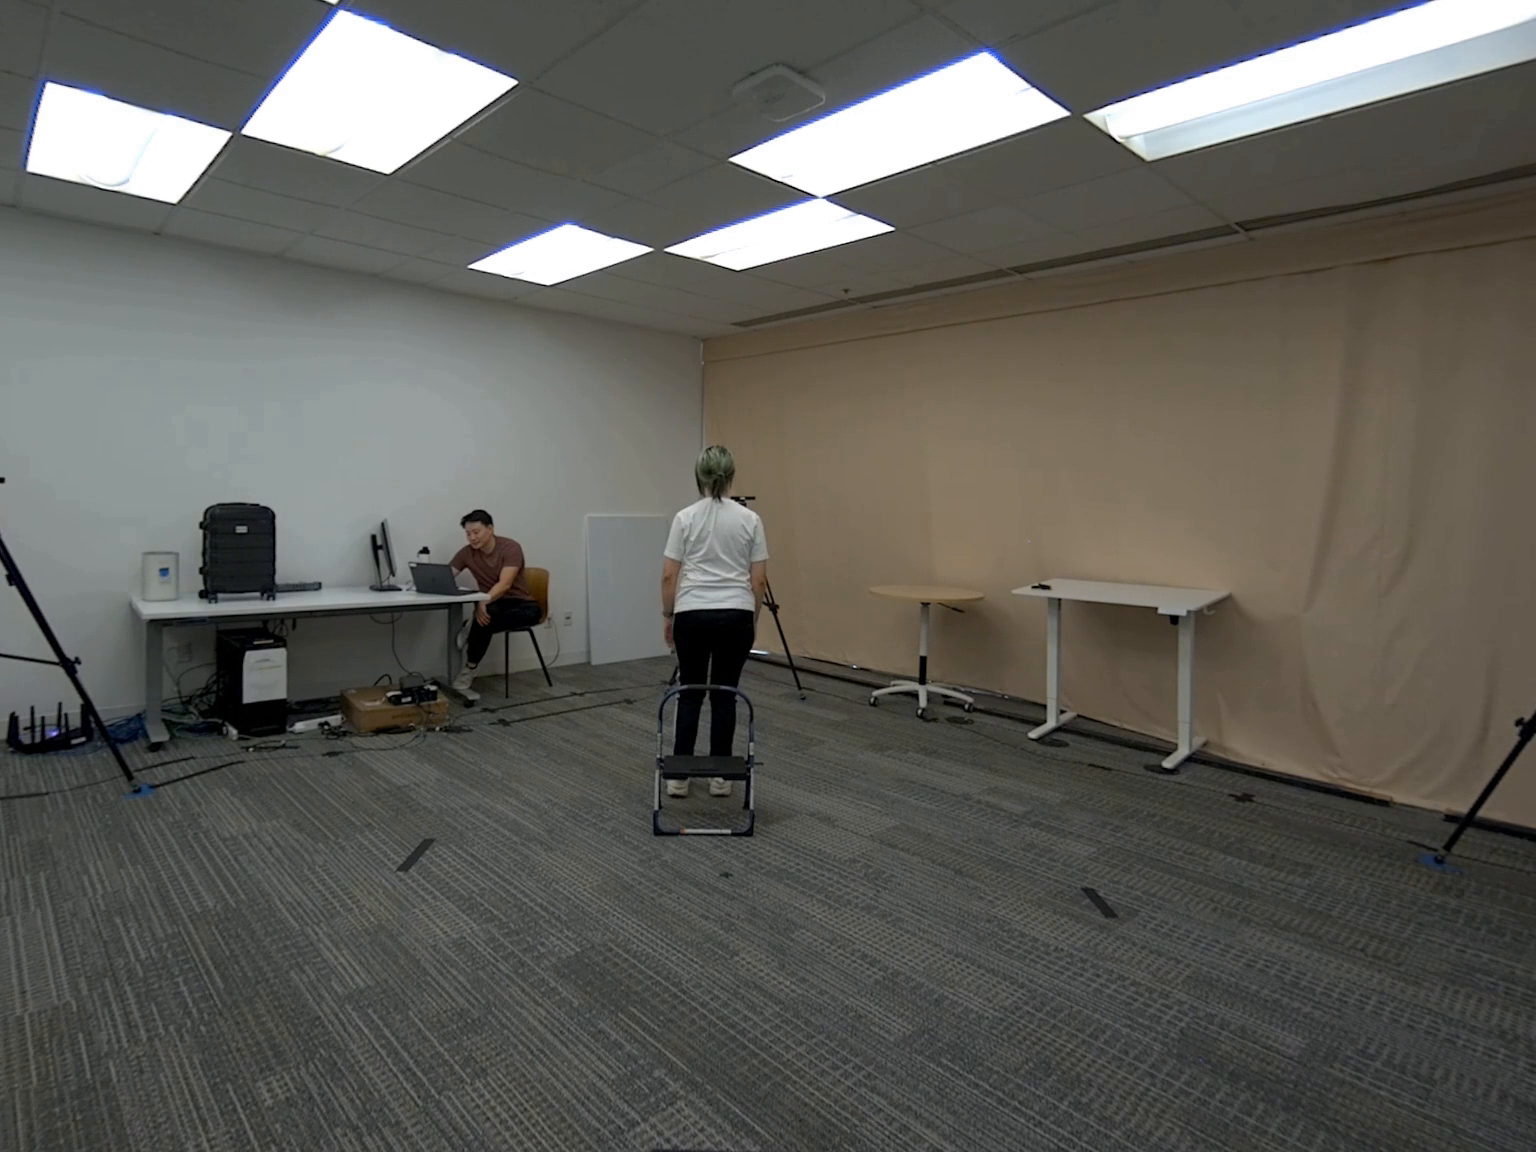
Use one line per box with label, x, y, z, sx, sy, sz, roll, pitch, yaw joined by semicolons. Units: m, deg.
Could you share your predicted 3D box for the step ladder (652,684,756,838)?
step ladder;-0.280;0.758;3.615;0.429;0.605;0.351;1;2;-4
